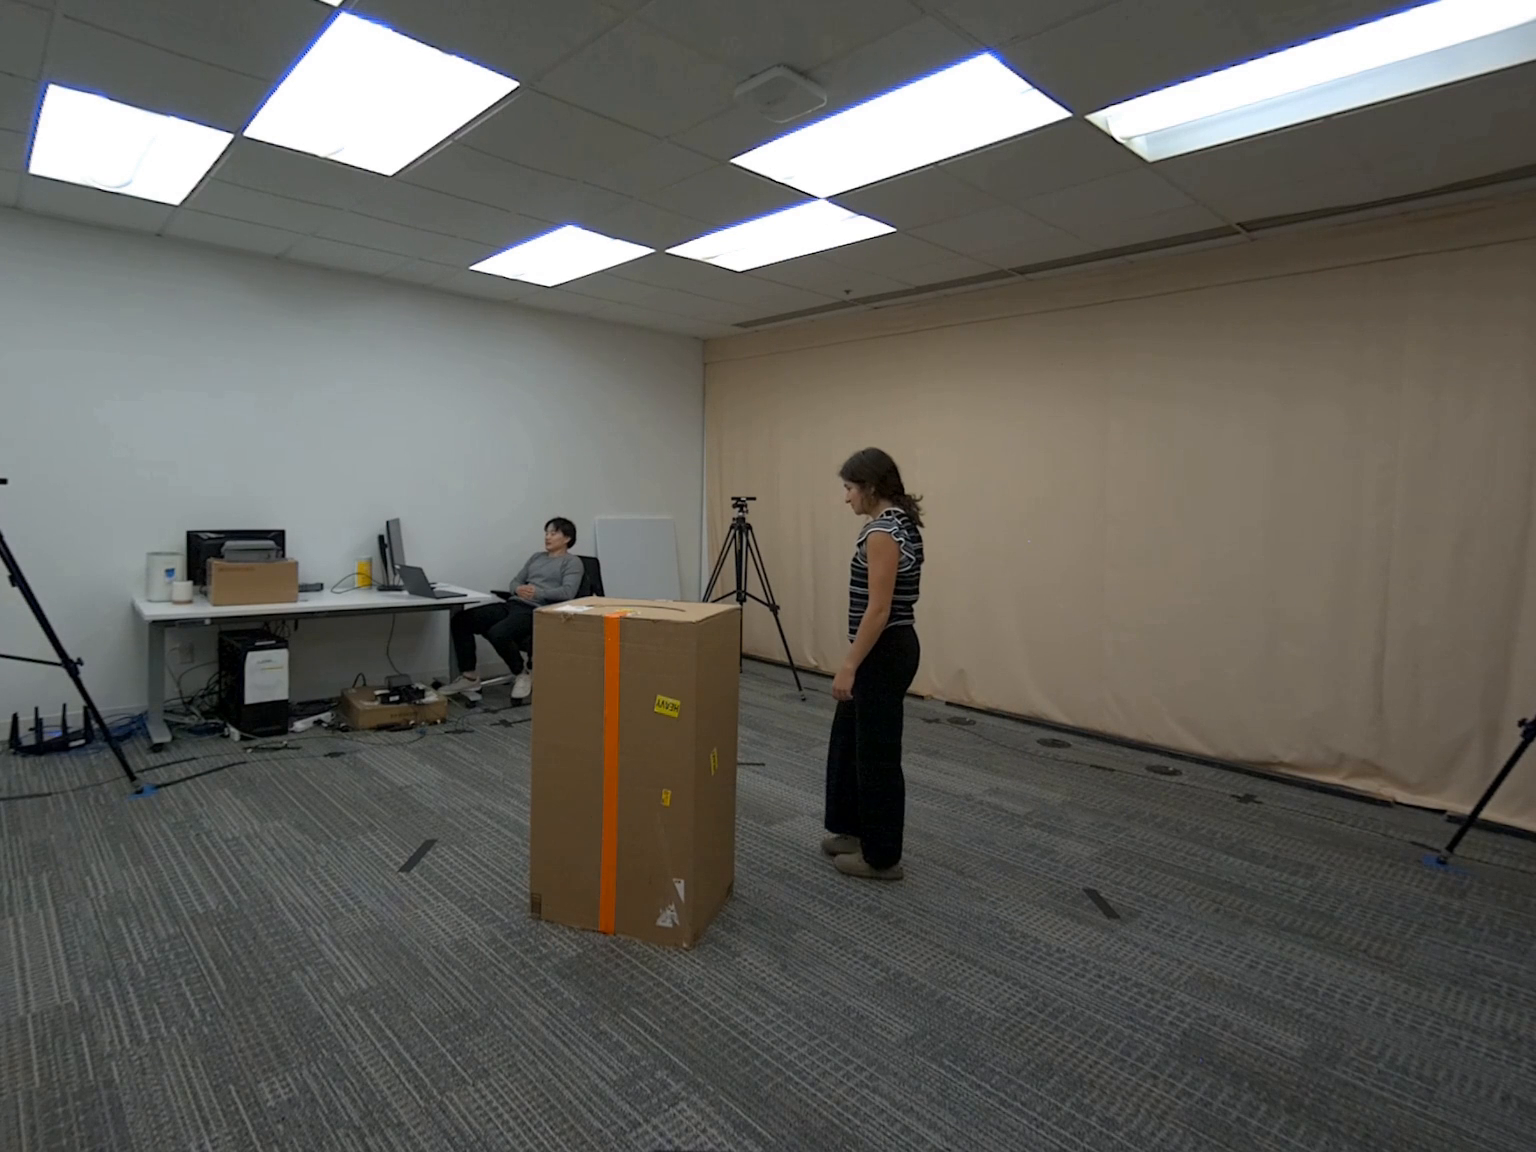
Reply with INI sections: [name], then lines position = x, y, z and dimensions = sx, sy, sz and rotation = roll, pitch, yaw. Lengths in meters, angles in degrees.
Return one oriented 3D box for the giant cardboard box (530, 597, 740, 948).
[giant cardboard box]
position = -0.444, 0.615, 2.841
dimensions = 0.586, 1.023, 0.421
rotation = 3, 3, 18
